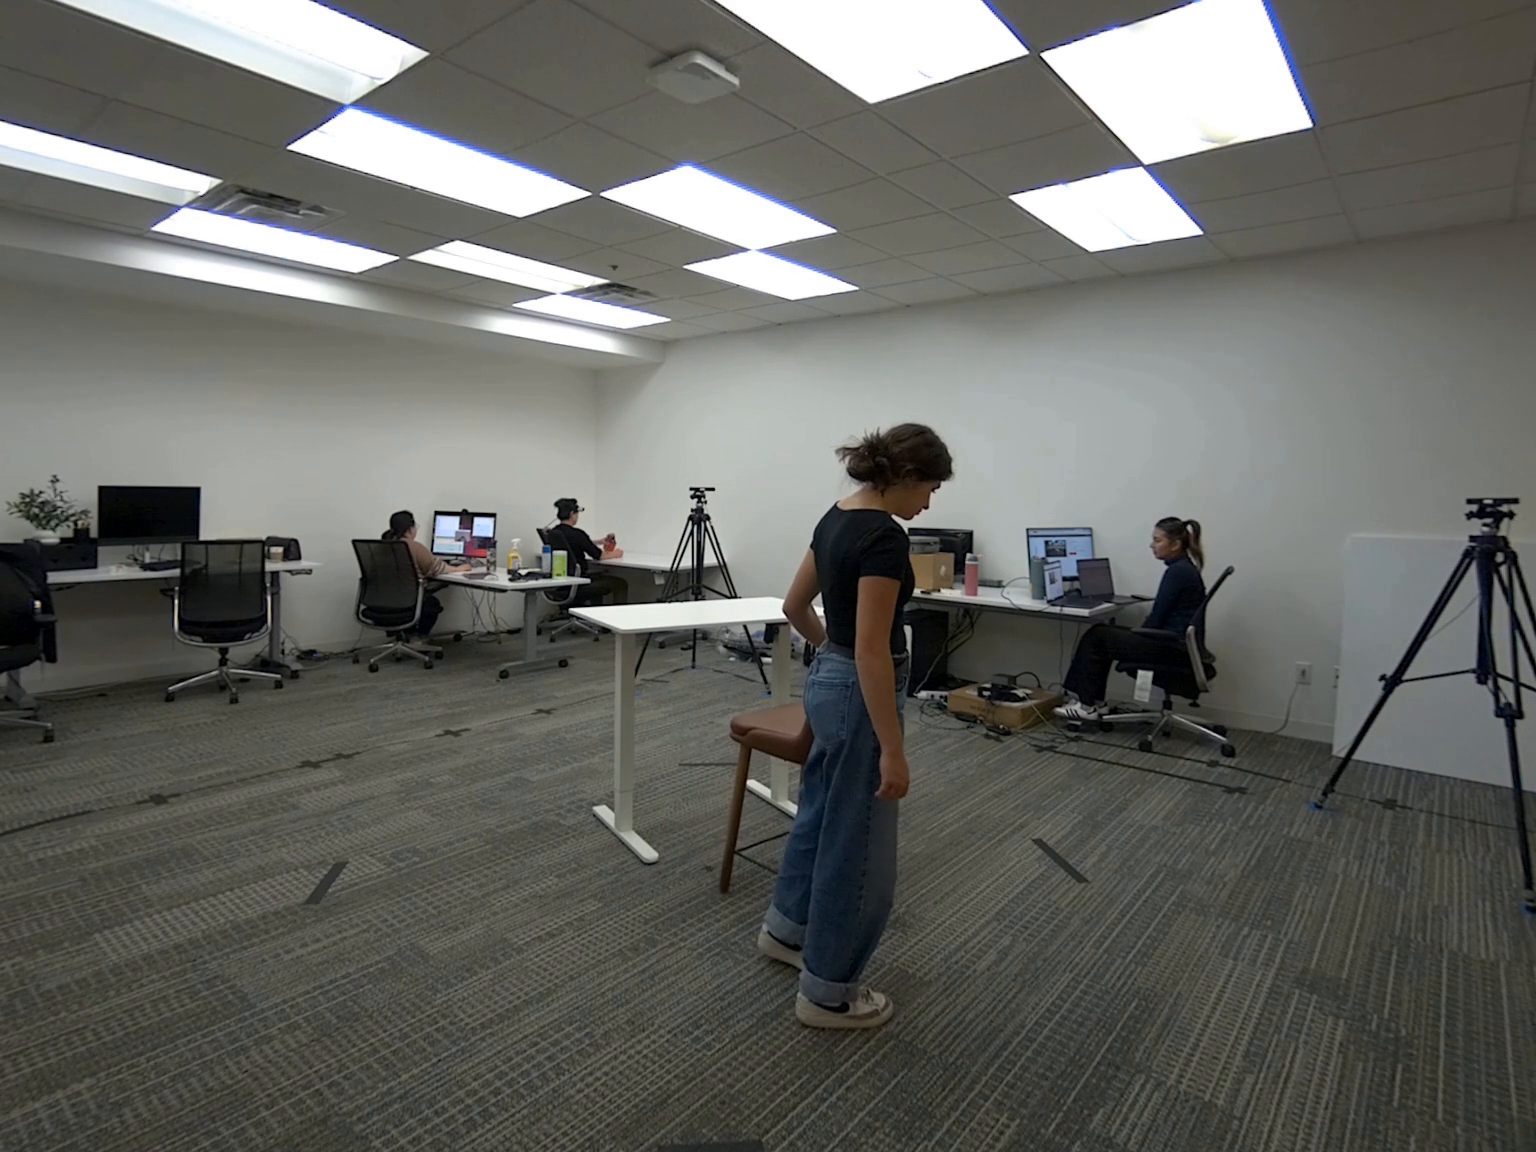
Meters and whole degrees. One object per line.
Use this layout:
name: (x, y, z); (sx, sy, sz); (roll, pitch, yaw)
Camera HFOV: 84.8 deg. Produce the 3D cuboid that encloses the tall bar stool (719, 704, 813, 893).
tall bar stool: (0.140, 0.660, 2.872); (0.442, 0.886, 0.484); (-1, 7, -43)
